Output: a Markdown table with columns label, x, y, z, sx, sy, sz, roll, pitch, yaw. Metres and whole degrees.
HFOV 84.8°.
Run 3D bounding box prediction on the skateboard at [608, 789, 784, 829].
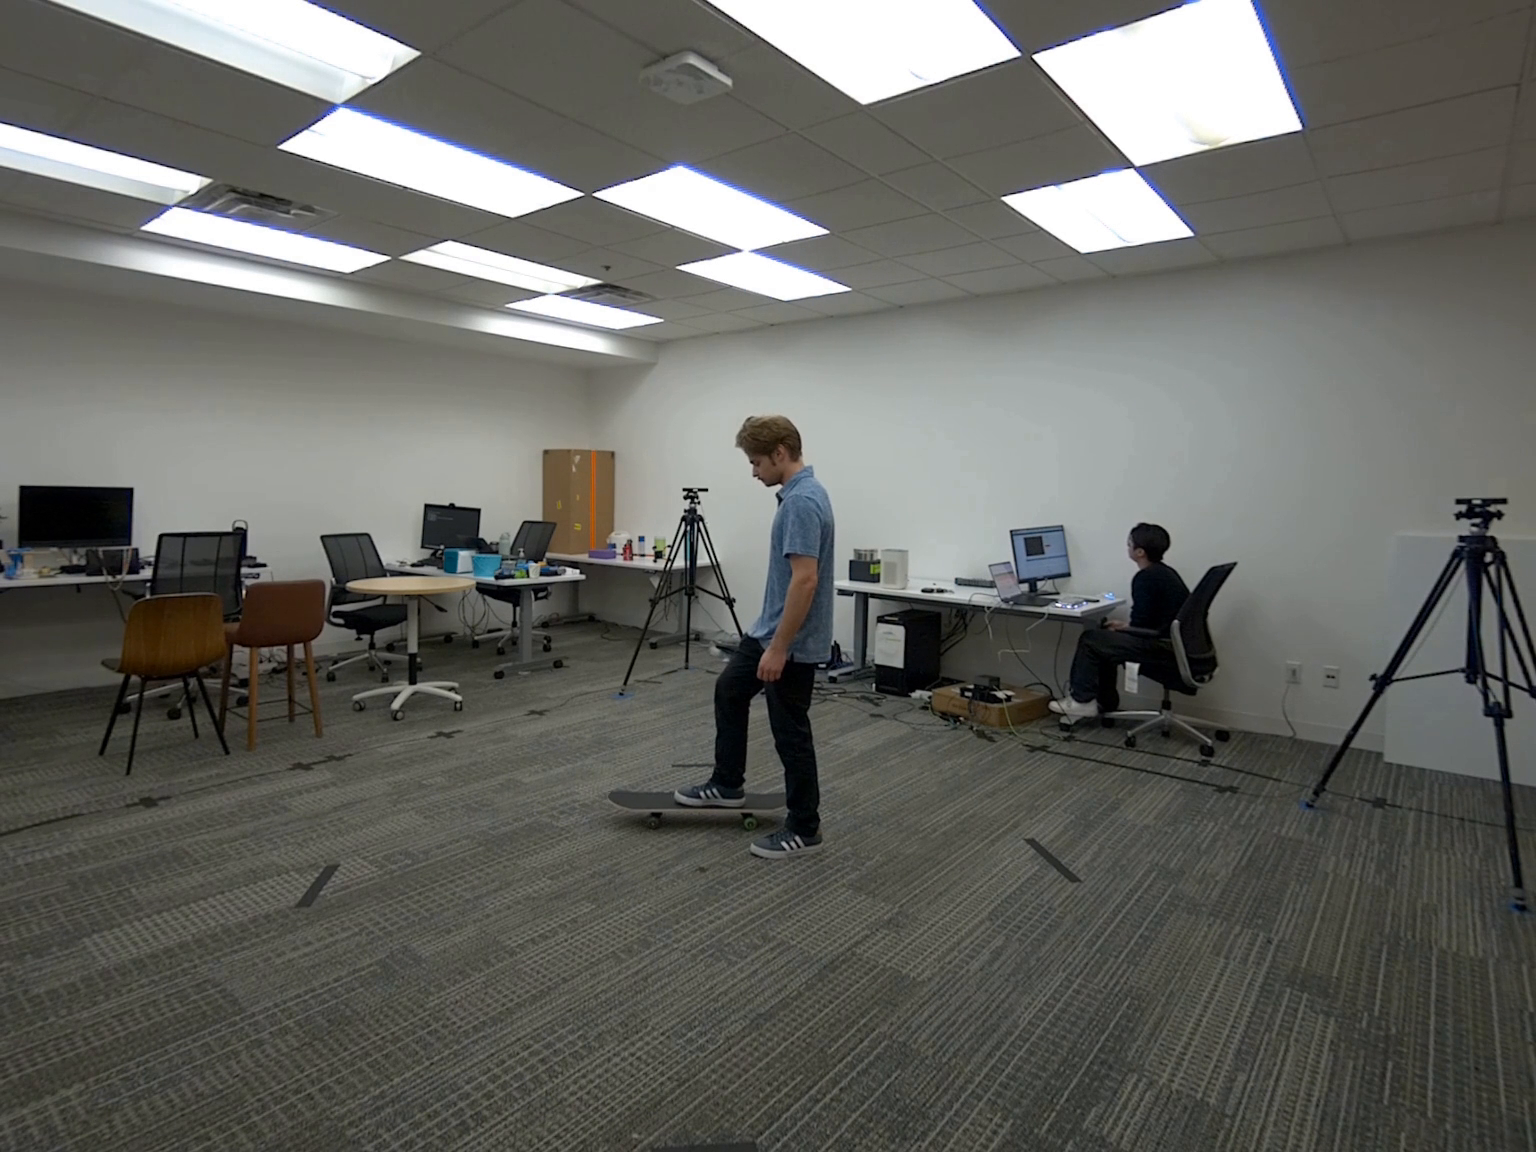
| label | x | y | z | sx | sy | sz | roll | pitch | yaw |
| --- | --- | --- | --- | --- | --- | --- | --- | --- | --- |
| skateboard | -0.290 | 0.965 | 3.551 | 0.784 | 0.110 | 0.195 | 1 | 7 | -2 |
